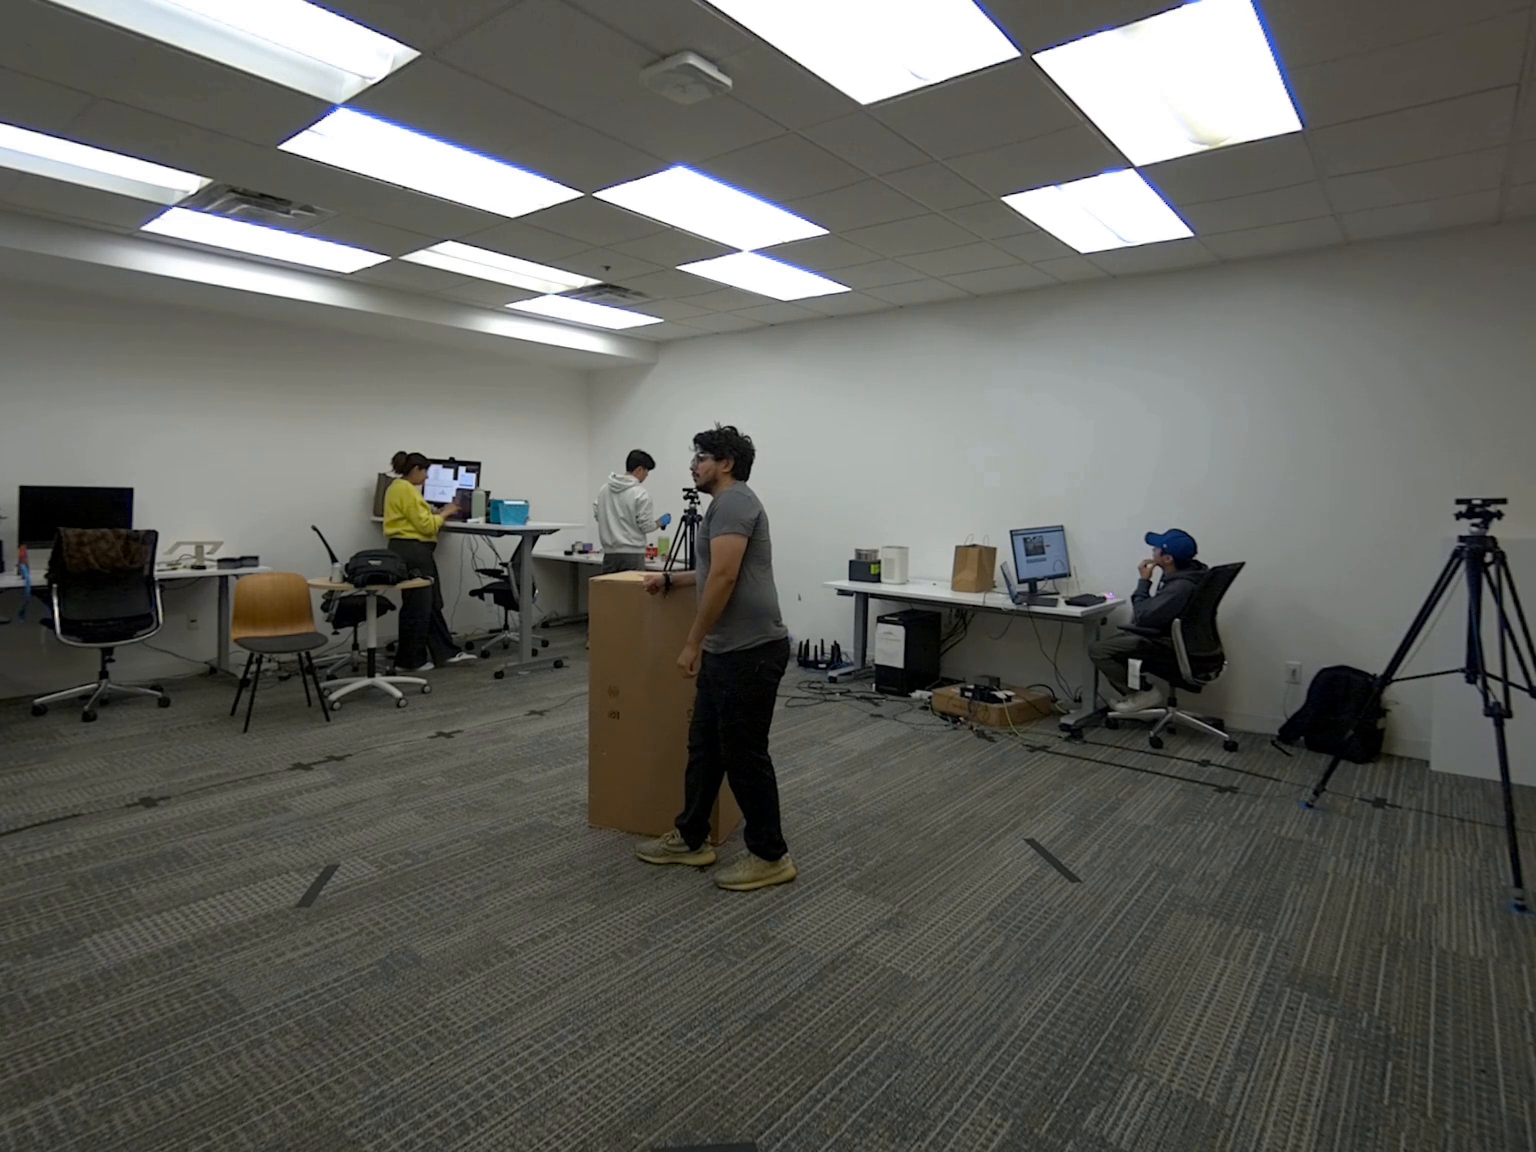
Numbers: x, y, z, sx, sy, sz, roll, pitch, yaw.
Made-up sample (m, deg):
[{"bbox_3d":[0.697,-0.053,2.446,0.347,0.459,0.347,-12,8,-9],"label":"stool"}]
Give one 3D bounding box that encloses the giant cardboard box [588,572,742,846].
[{"bbox_3d":[-0.415,0.514,3.577,0.590,1.023,0.418,3,4,20],"label":"giant cardboard box"}]
